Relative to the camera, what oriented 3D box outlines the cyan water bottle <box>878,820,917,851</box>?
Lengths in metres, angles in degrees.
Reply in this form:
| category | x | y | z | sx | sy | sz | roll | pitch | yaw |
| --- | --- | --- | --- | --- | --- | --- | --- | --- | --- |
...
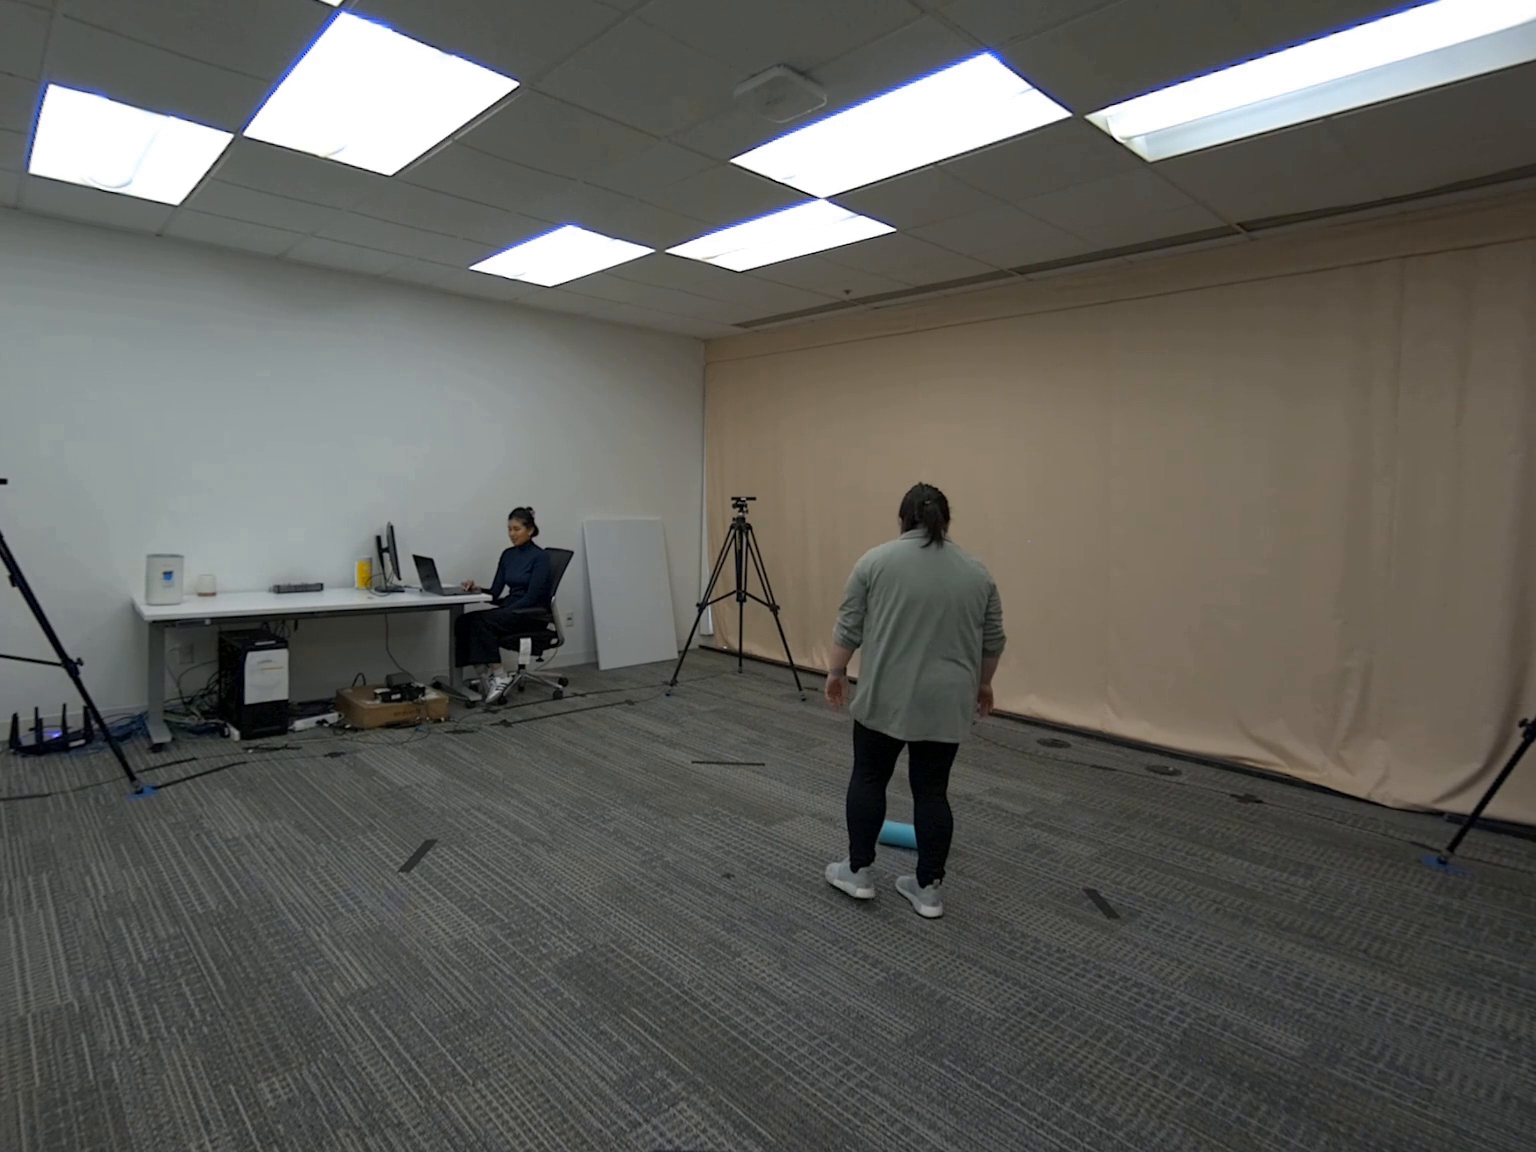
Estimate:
| category | x | y | z | sx | sy | sz | roll | pitch | yaw |
| --- | --- | --- | --- | --- | --- | --- | --- | --- | --- |
| cyan water bottle | 0.588 | 1.057 | 3.404 | 0.288 | 0.092 | 0.091 | 3 | 4 | 21 |
